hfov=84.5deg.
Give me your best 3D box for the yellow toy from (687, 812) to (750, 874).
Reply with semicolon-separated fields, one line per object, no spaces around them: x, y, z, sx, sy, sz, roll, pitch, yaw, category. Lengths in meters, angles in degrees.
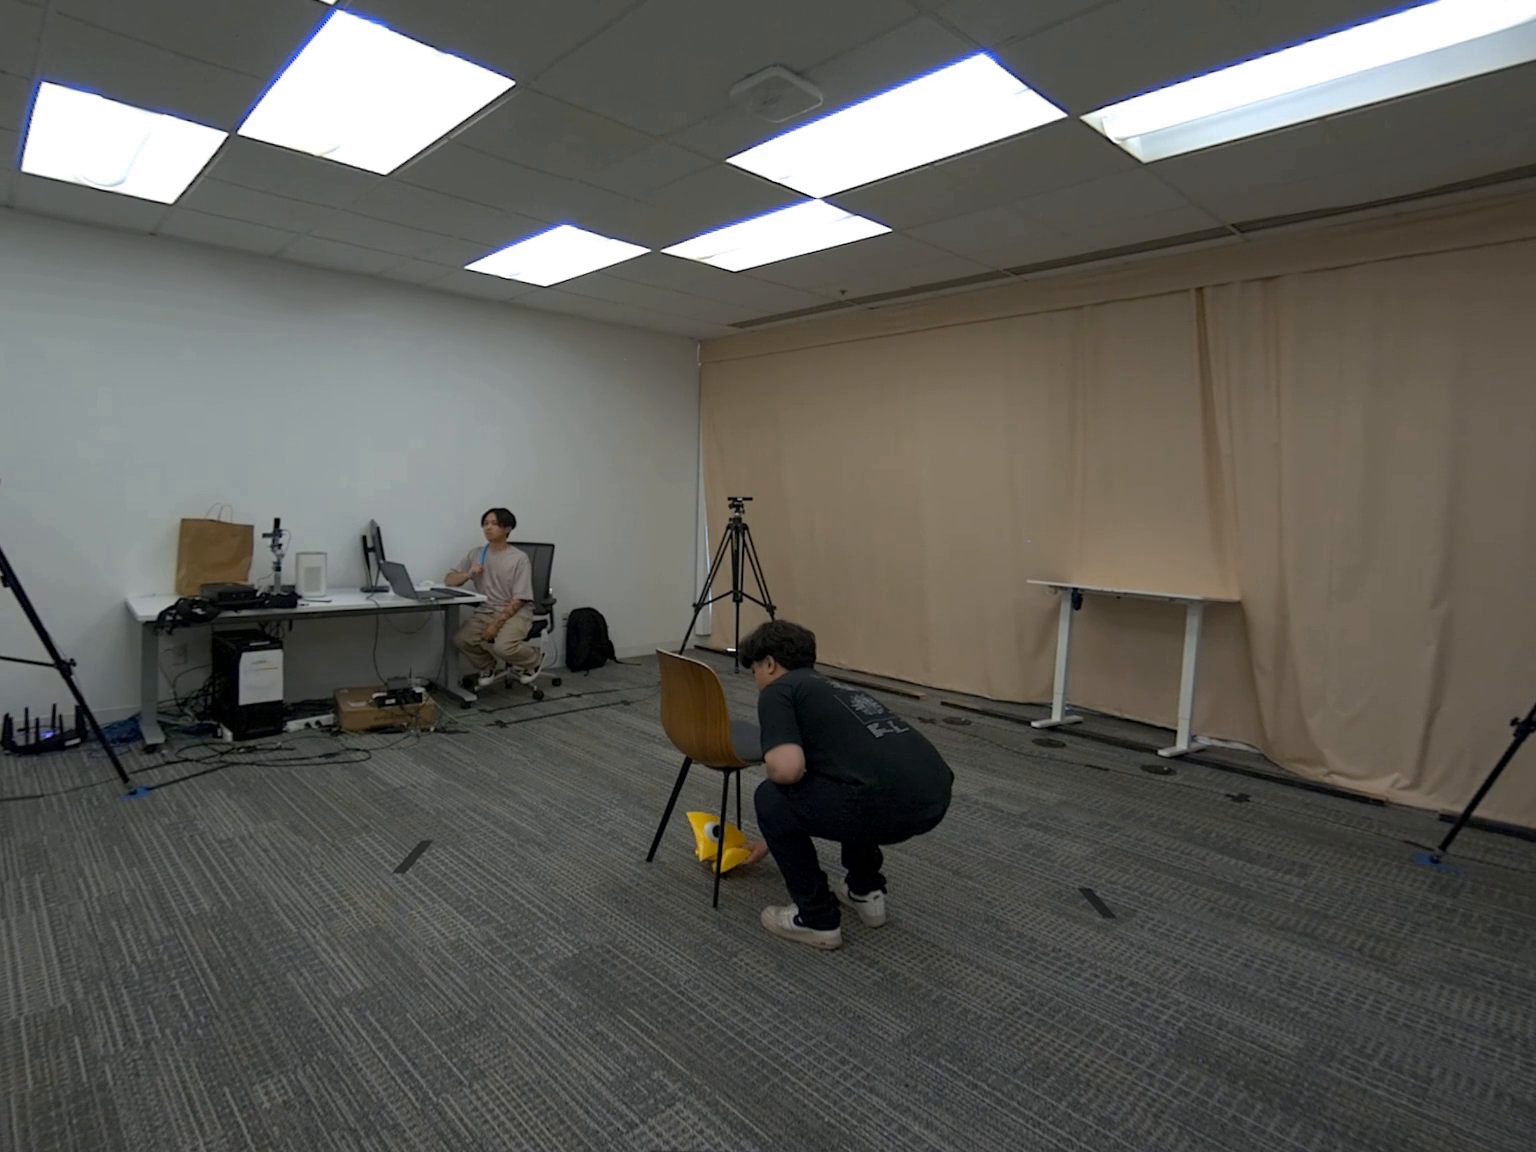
-0.199;0.968;3.161;0.192;0.230;0.206;-26;2;-9;yellow toy
